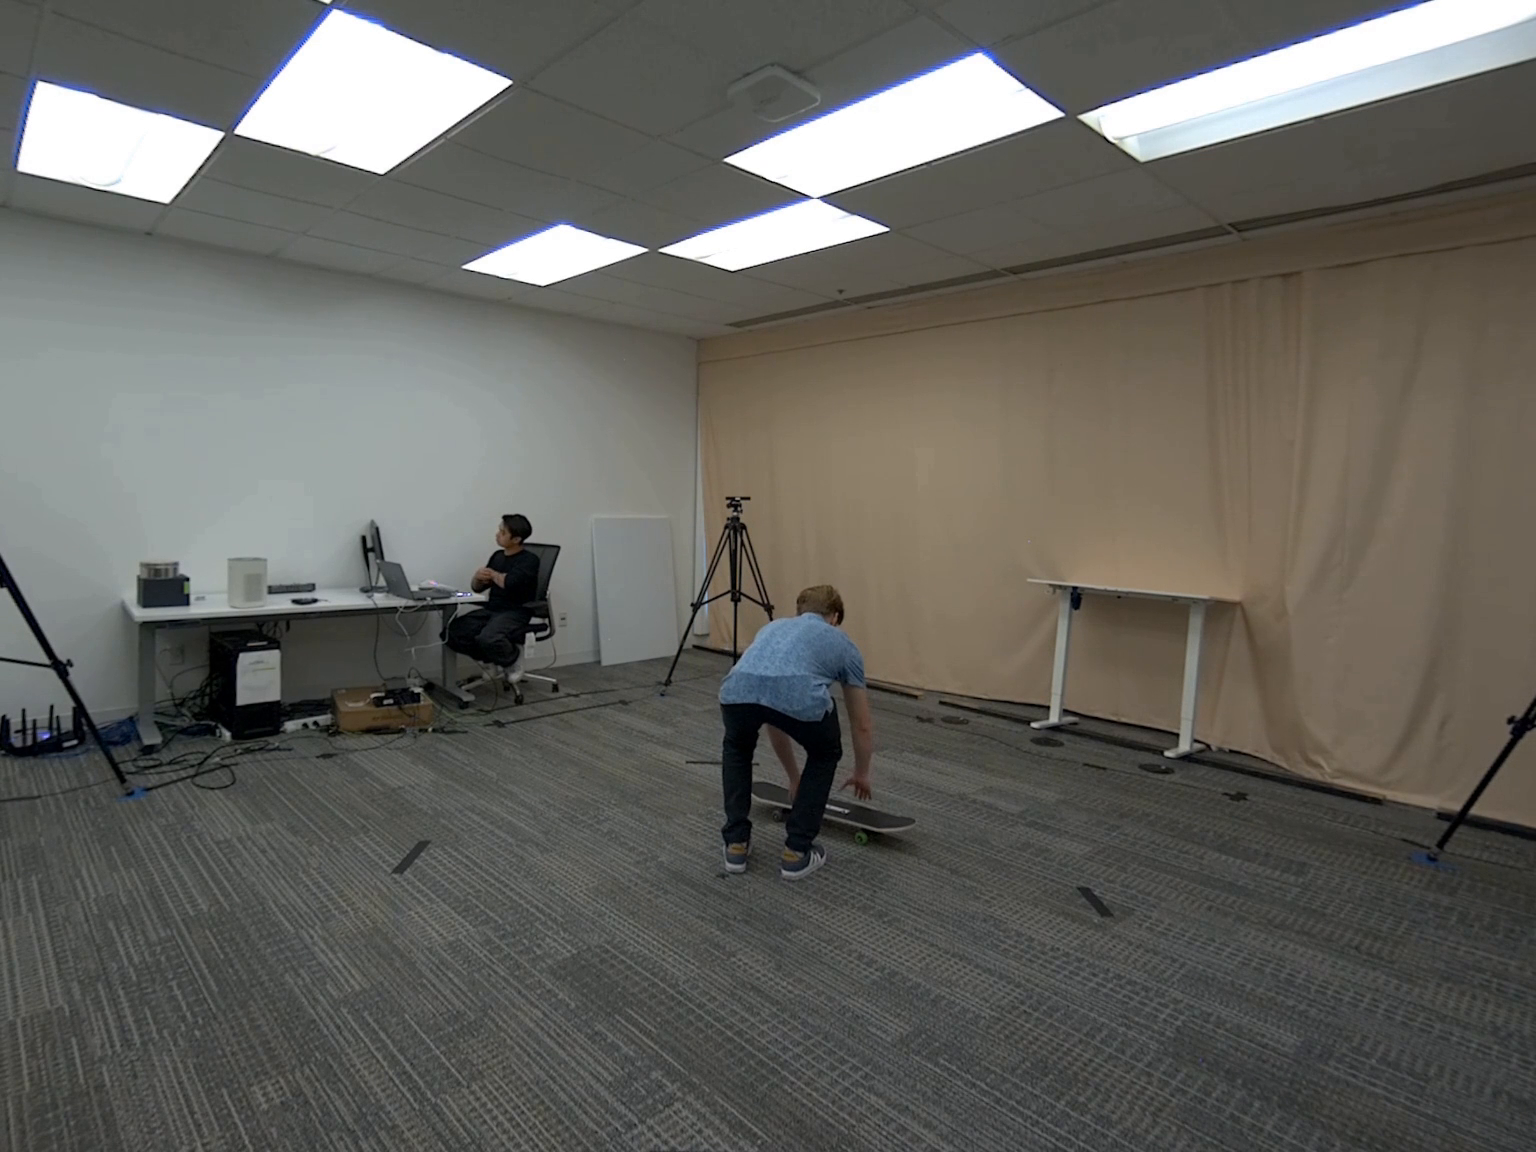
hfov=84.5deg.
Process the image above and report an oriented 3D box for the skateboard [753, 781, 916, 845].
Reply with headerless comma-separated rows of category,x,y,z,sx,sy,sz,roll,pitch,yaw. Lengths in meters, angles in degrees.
skateboard,0.239,1.012,3.598,0.804,0.110,0.189,5,5,34
